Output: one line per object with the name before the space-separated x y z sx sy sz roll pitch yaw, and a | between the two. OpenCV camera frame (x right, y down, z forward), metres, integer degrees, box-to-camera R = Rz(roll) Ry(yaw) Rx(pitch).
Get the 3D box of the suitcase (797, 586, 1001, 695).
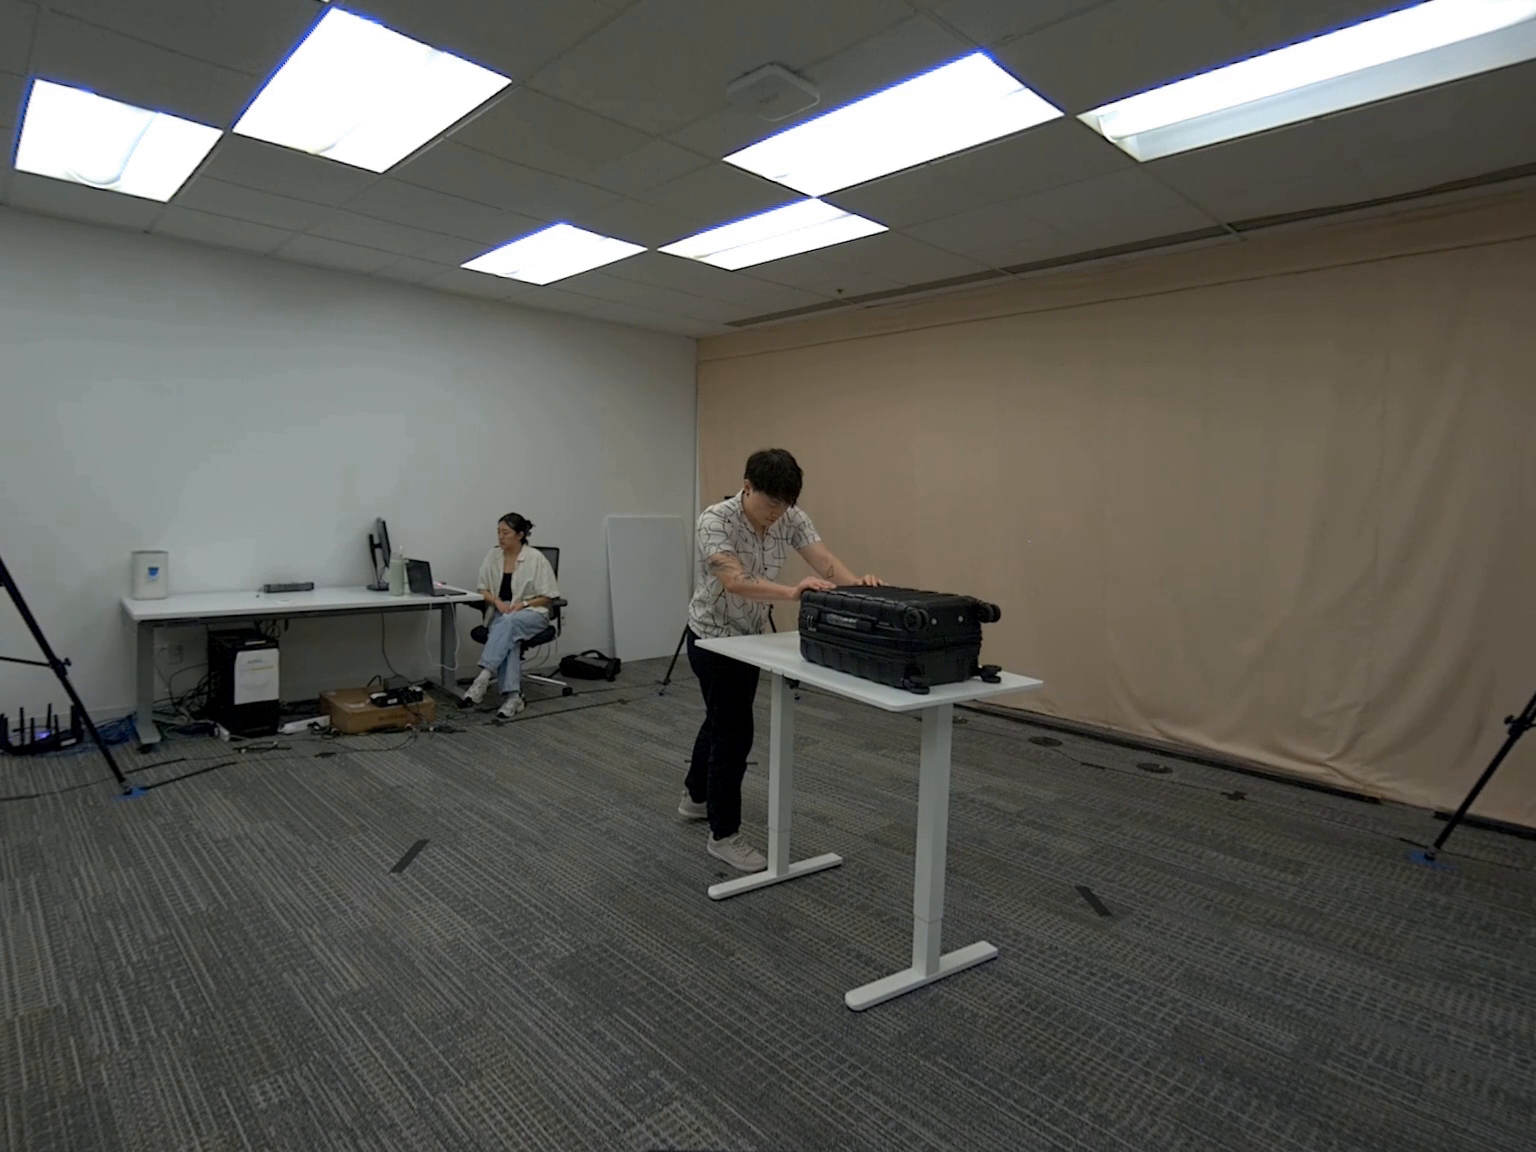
suitcase | 0.351 0.171 2.540 0.367 0.247 0.563 -3 7 -36
